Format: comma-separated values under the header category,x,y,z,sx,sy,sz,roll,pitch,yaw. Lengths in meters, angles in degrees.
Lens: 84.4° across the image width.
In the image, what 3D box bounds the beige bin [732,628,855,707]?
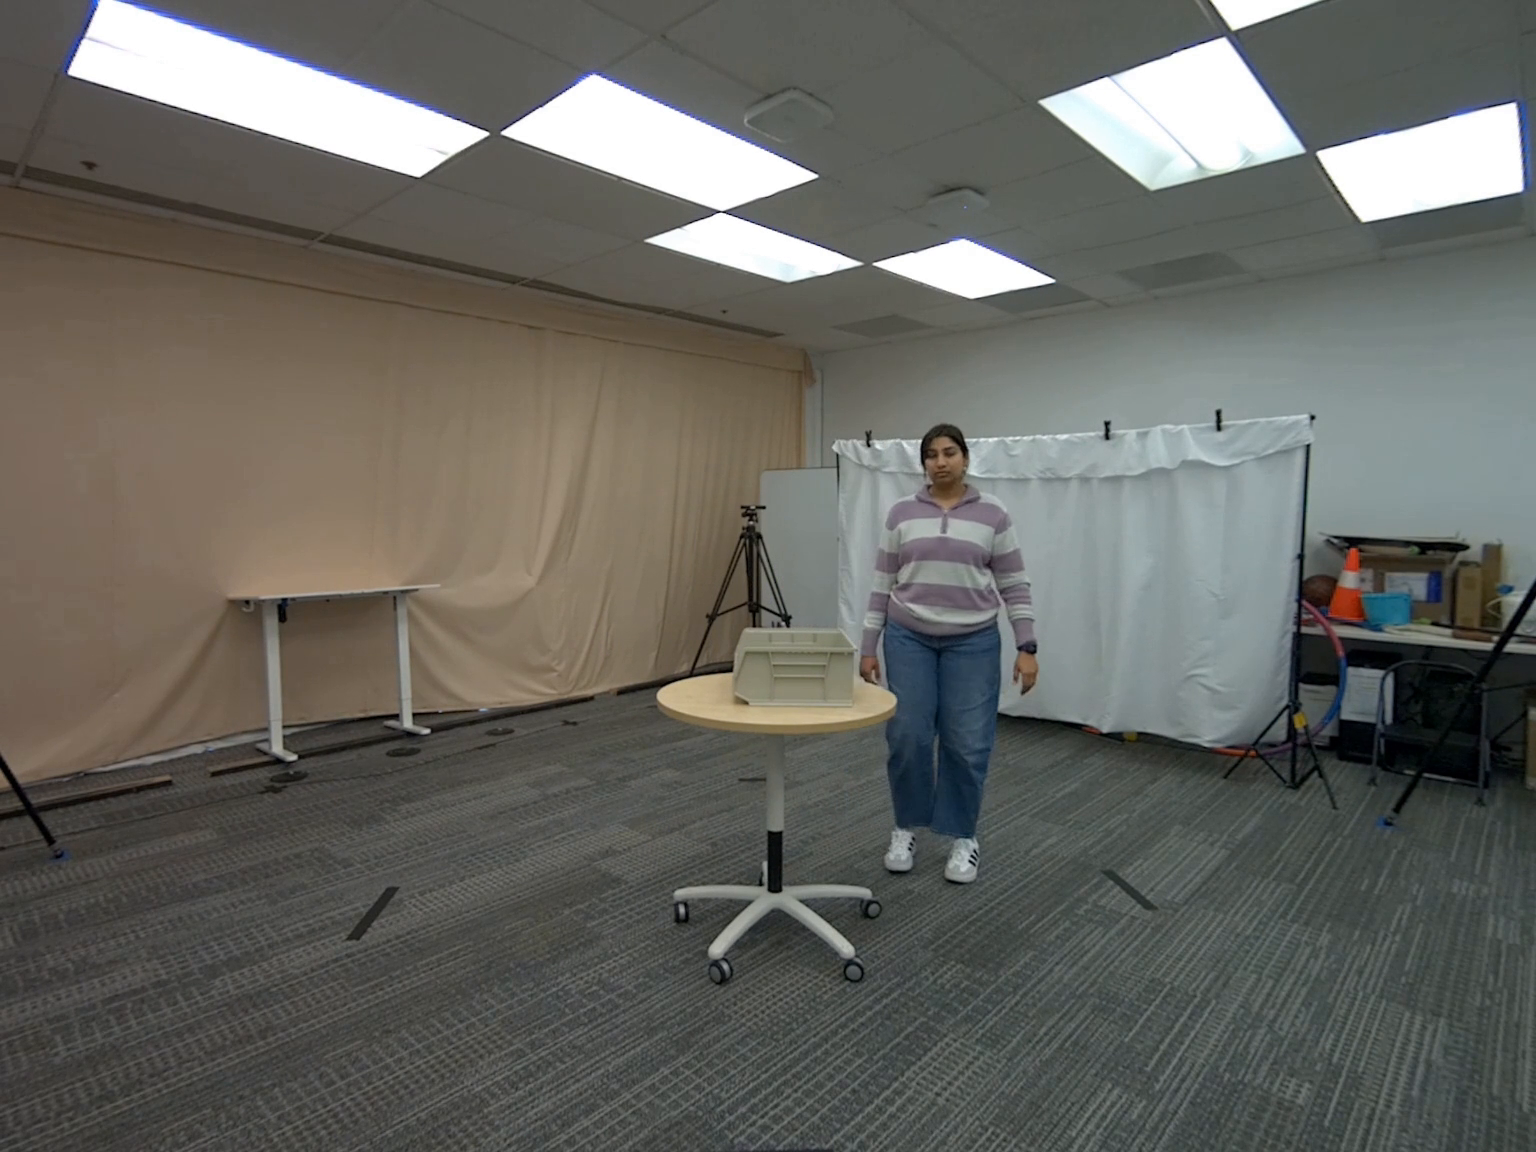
category,x,y,z,sx,sy,sz,roll,pitch,yaw
beige bin,0.070,0.293,2.740,0.378,0.189,0.422,1,3,0
